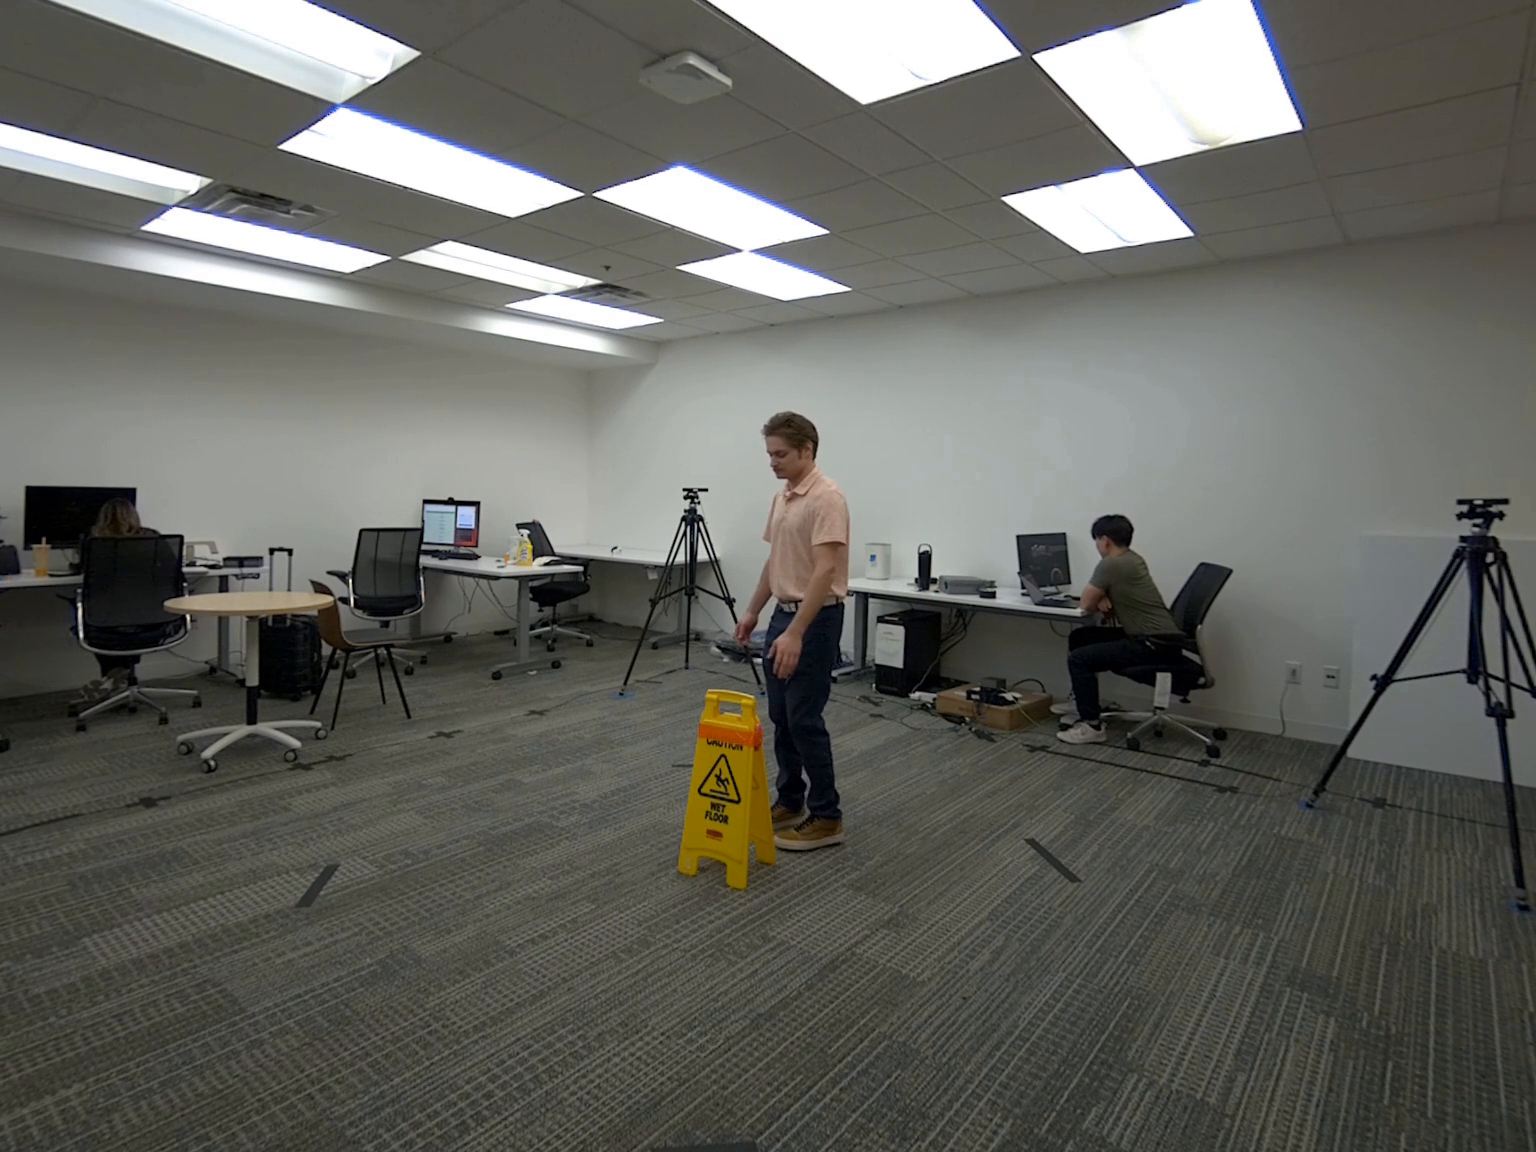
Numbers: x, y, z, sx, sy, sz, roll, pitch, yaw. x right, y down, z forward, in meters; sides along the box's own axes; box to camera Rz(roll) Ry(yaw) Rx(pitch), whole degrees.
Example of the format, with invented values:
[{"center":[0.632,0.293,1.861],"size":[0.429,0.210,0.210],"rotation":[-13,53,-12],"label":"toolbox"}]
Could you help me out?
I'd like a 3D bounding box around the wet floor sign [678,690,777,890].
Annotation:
[{"center":[-0.152,0.746,3.106],"size":[0.290,0.644,0.282],"rotation":[2,4,28],"label":"wet floor sign"}]
